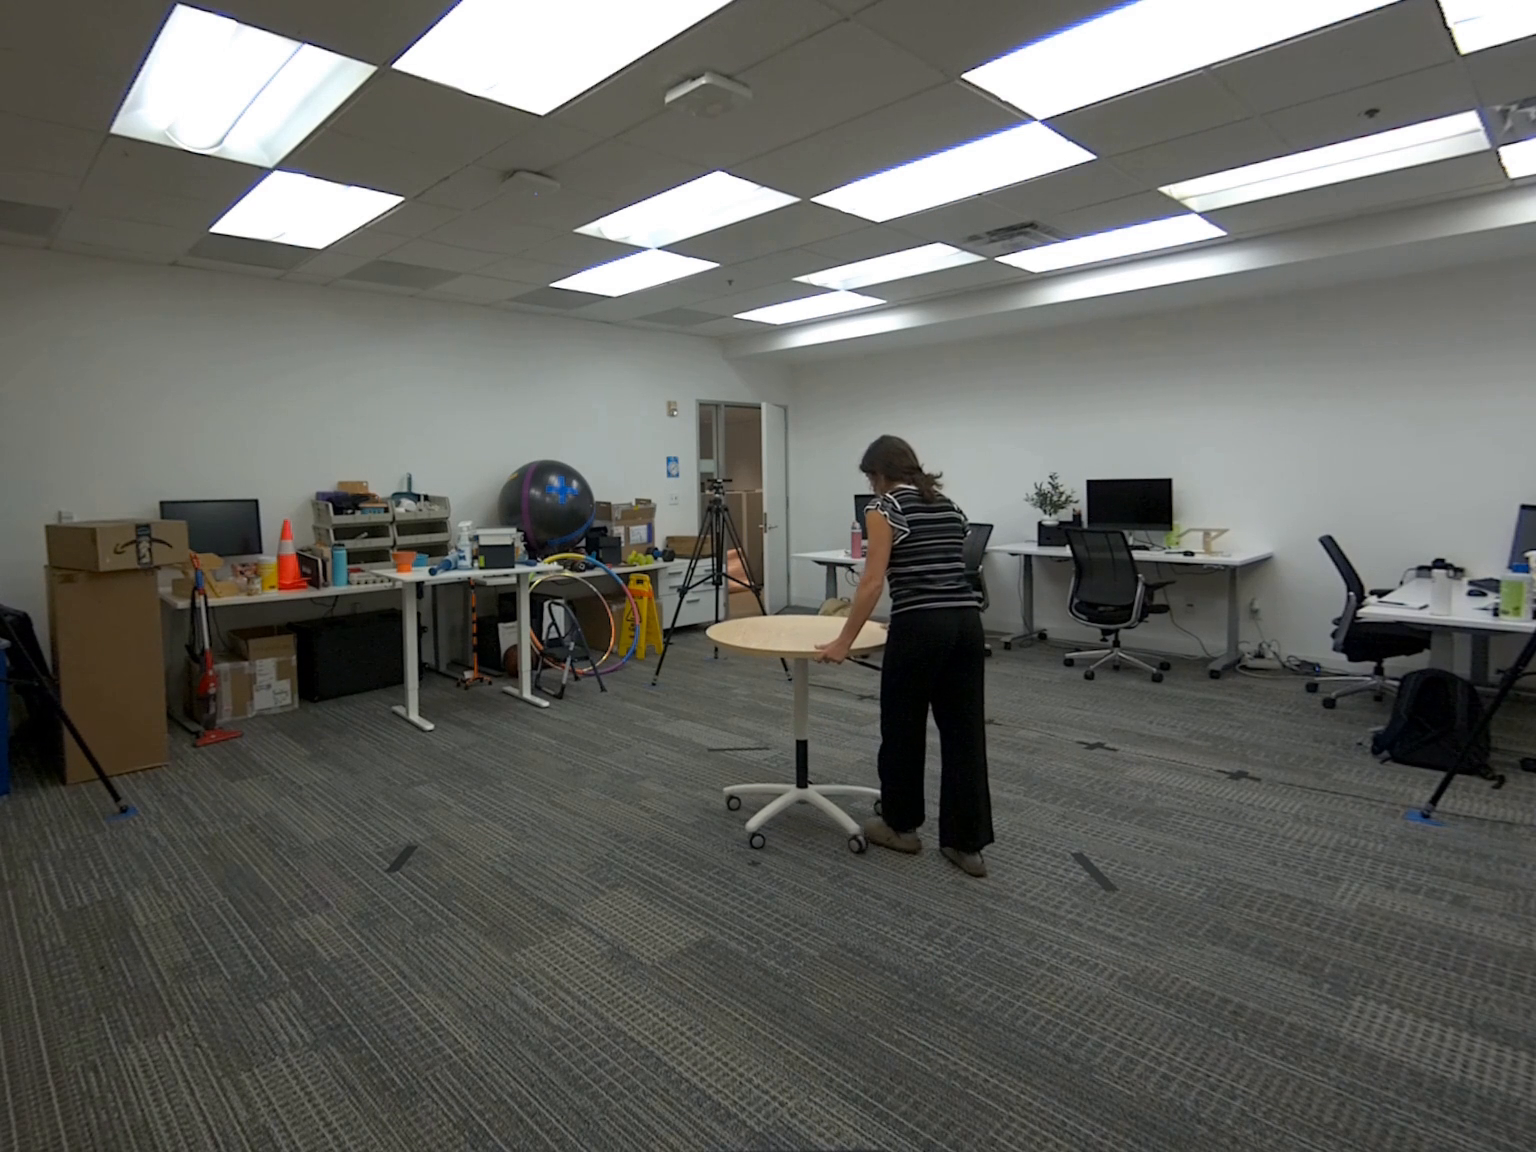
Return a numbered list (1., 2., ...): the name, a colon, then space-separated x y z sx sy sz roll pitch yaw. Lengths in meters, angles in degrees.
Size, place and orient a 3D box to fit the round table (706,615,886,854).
1. round table: 0.133 0.612 3.469 0.763 0.791 0.768 -1 5 -2
